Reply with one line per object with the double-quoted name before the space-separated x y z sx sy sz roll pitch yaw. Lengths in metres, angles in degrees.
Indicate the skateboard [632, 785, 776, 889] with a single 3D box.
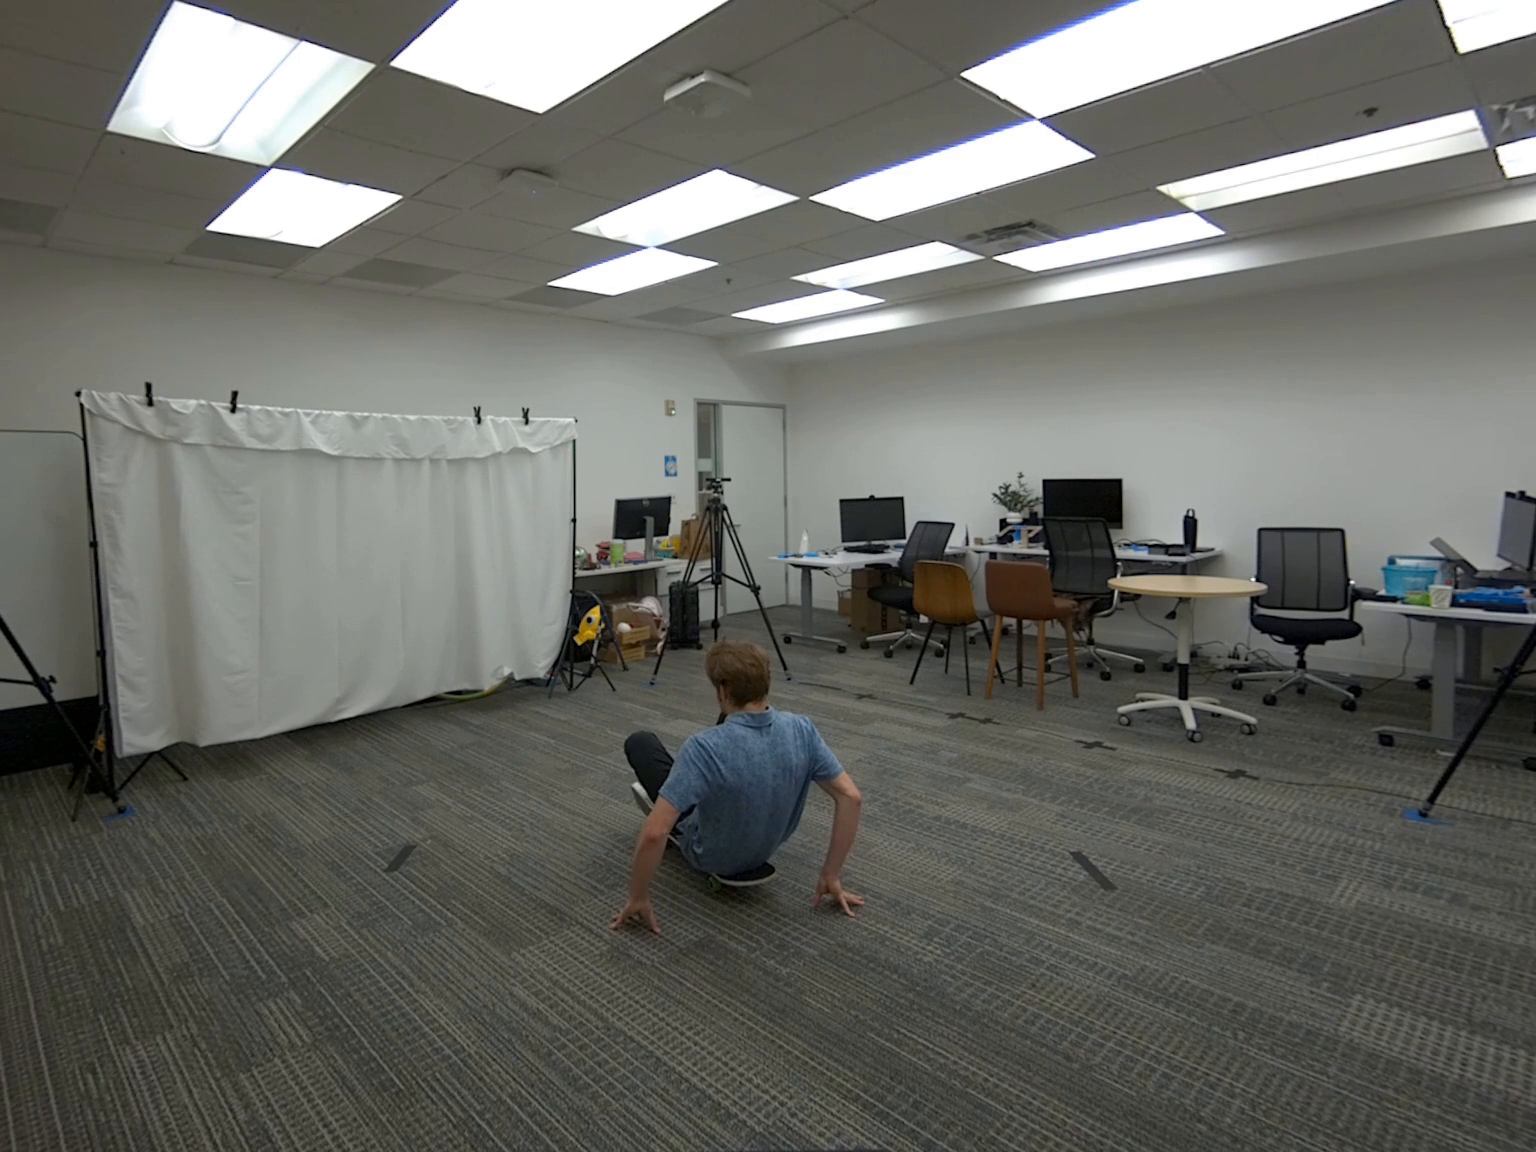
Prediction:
"skateboard" -0.218 1.000 3.108 0.189 0.109 0.808 -10 11 -29
